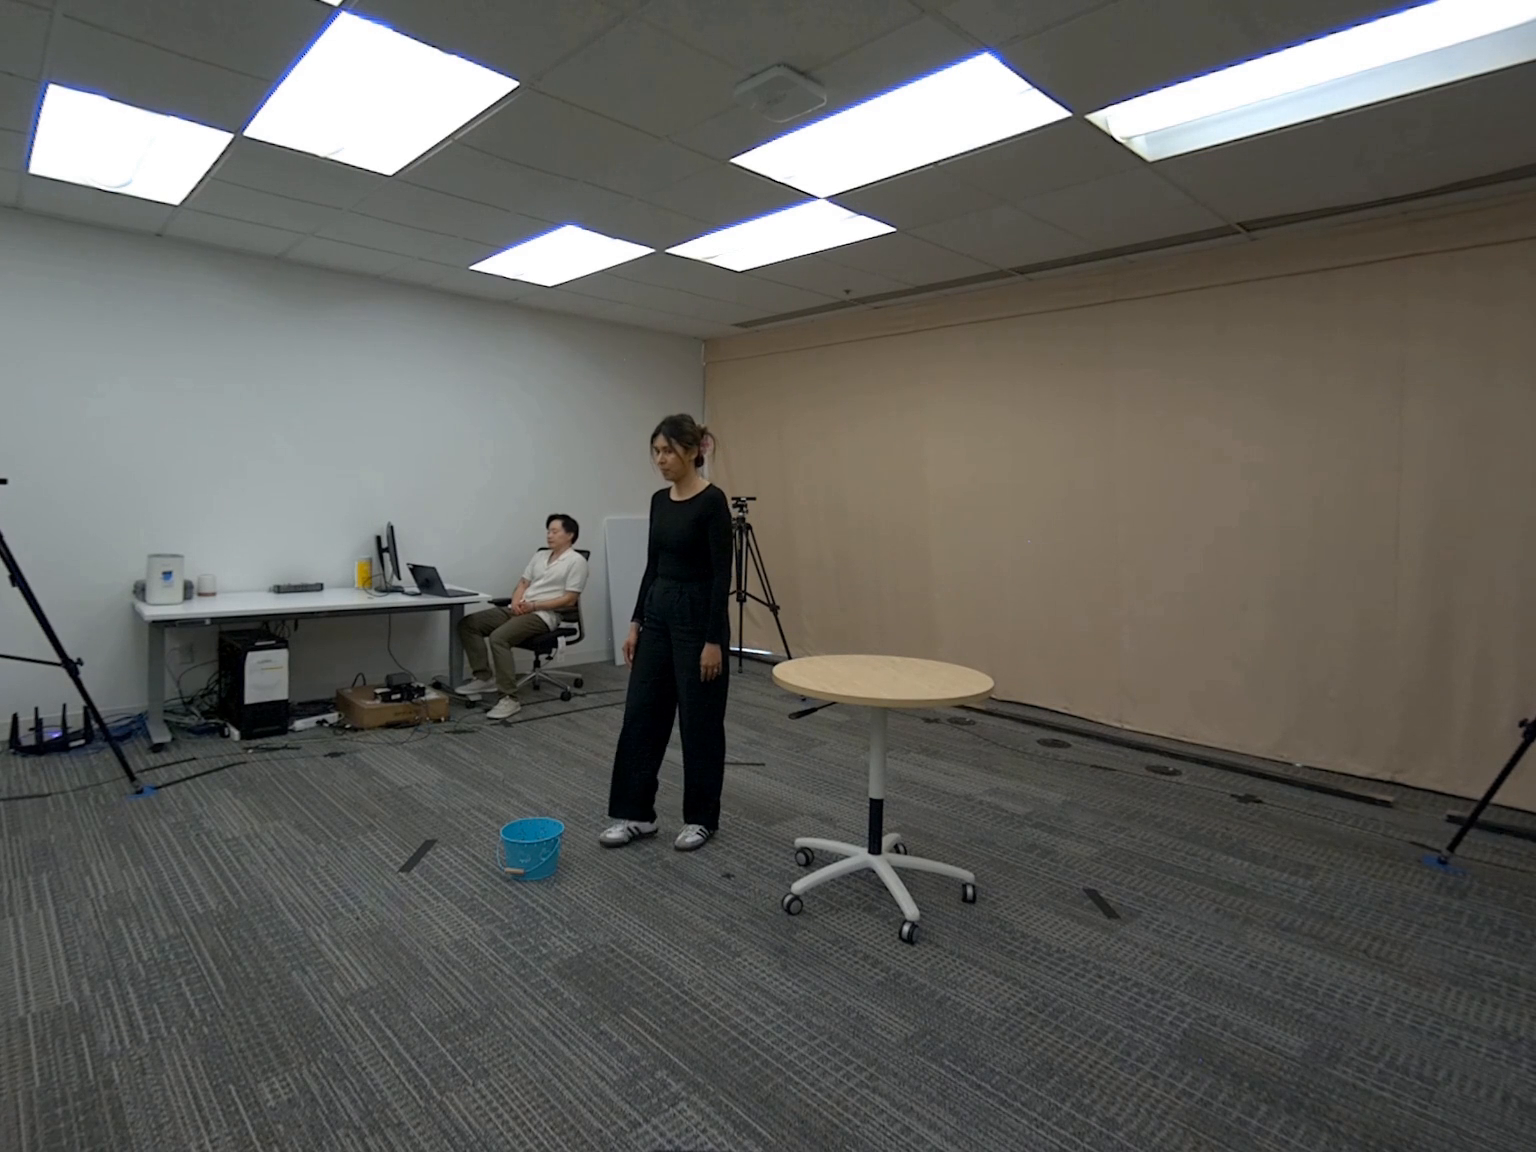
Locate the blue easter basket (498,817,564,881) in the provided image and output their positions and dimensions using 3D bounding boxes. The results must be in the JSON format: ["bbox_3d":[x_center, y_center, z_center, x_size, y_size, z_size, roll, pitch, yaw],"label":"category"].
[{"bbox_3d":[-0.883,1.012,3.112,0.243,0.155,0.244,1,4,-1],"label":"blue easter basket"}]
